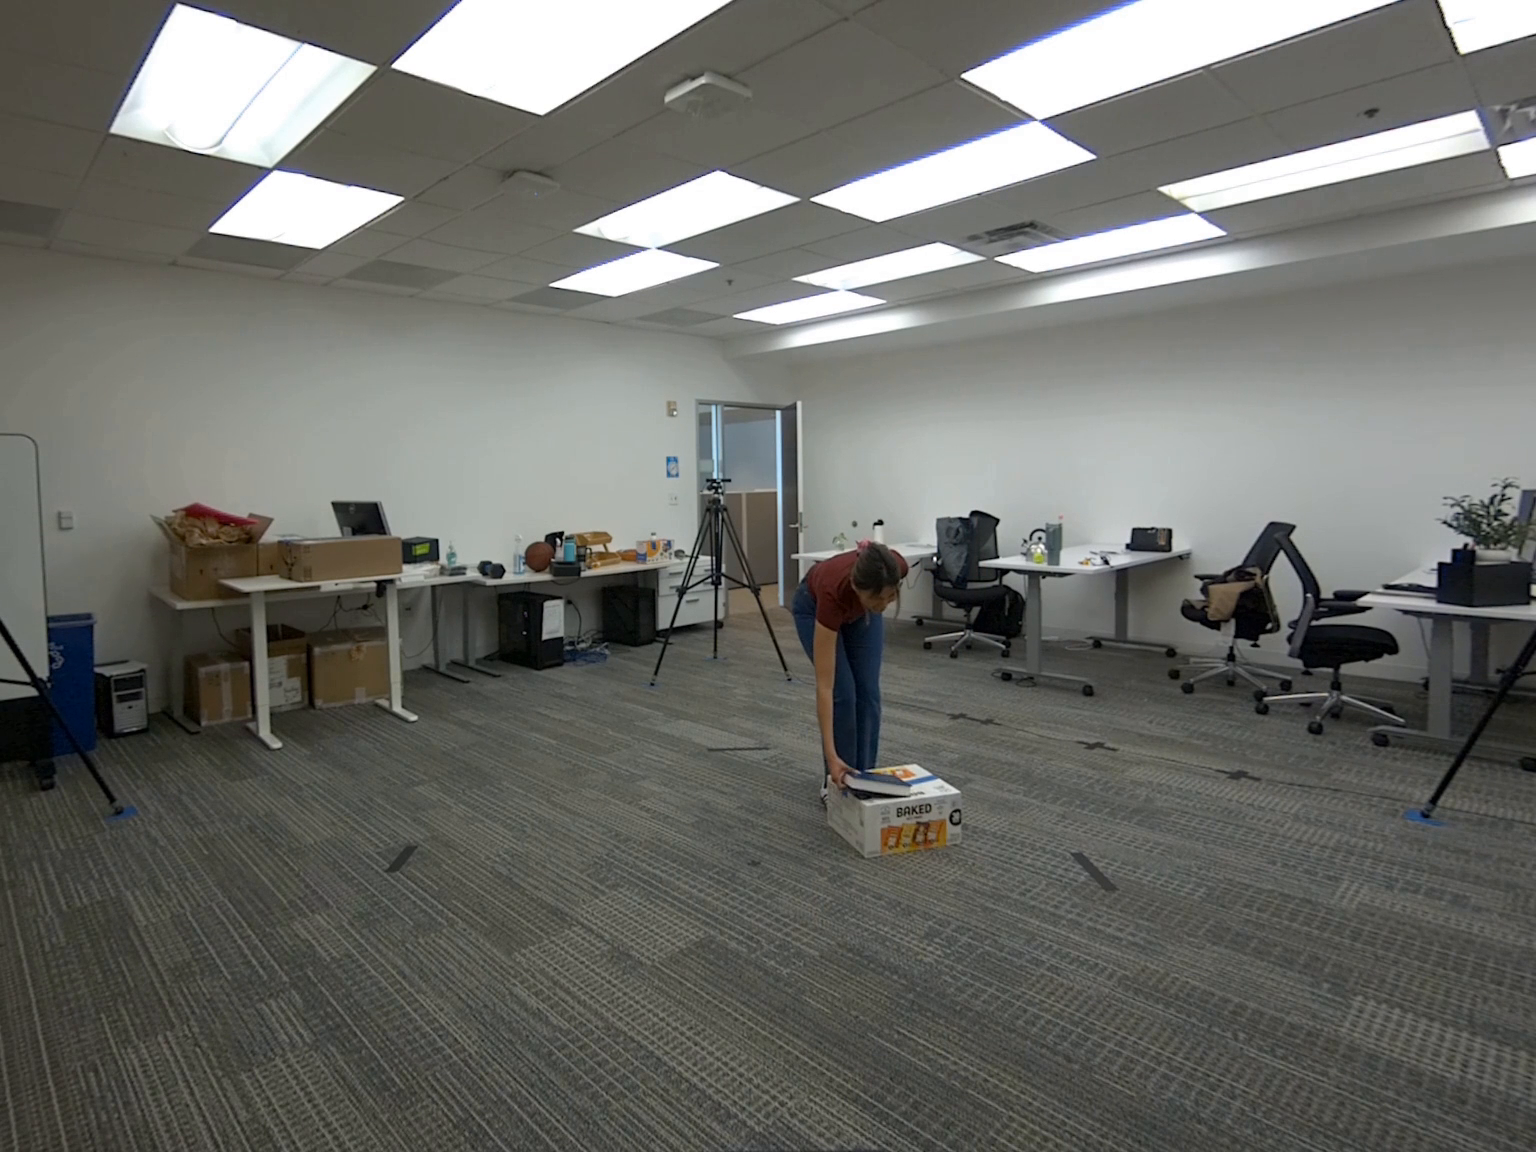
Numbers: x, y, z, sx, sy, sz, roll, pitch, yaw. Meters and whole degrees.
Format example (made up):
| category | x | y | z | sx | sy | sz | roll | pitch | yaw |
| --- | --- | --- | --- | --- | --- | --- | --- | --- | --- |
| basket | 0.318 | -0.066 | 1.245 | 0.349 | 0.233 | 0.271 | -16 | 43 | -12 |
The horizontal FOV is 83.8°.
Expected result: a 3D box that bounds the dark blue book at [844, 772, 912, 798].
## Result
| category | x | y | z | sx | sy | sz | roll | pitch | yaw |
| --- | --- | --- | --- | --- | --- | --- | --- | --- | --- |
| dark blue book | 0.420 | 0.791 | 3.249 | 0.242 | 0.045 | 0.165 | 10 | 0 | -11 |
